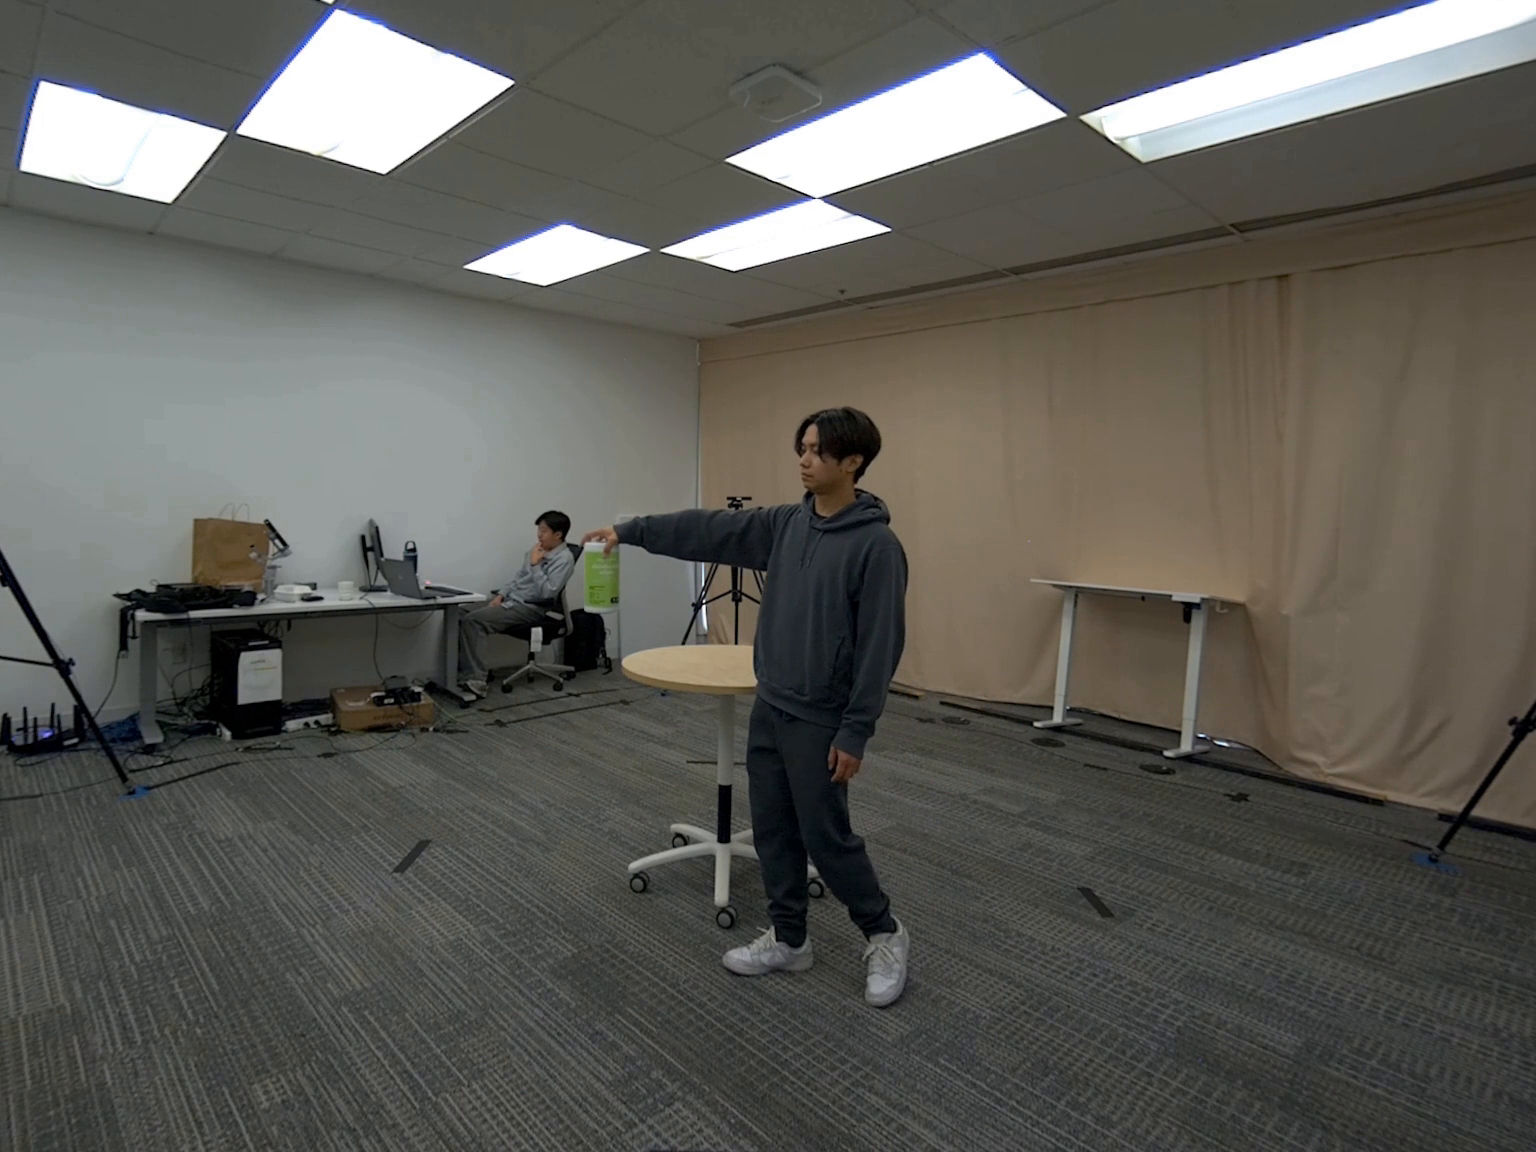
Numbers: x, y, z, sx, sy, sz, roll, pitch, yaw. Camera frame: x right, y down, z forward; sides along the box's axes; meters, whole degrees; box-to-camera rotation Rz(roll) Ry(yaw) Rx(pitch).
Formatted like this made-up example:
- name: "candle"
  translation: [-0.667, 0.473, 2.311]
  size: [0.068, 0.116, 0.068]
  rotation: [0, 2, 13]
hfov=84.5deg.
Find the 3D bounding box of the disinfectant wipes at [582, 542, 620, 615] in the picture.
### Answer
- name: "disinfectant wipes"
  translation: [-0.517, 0.007, 2.592]
  size: [0.118, 0.217, 0.118]
  rotation: [1, 4, -1]
